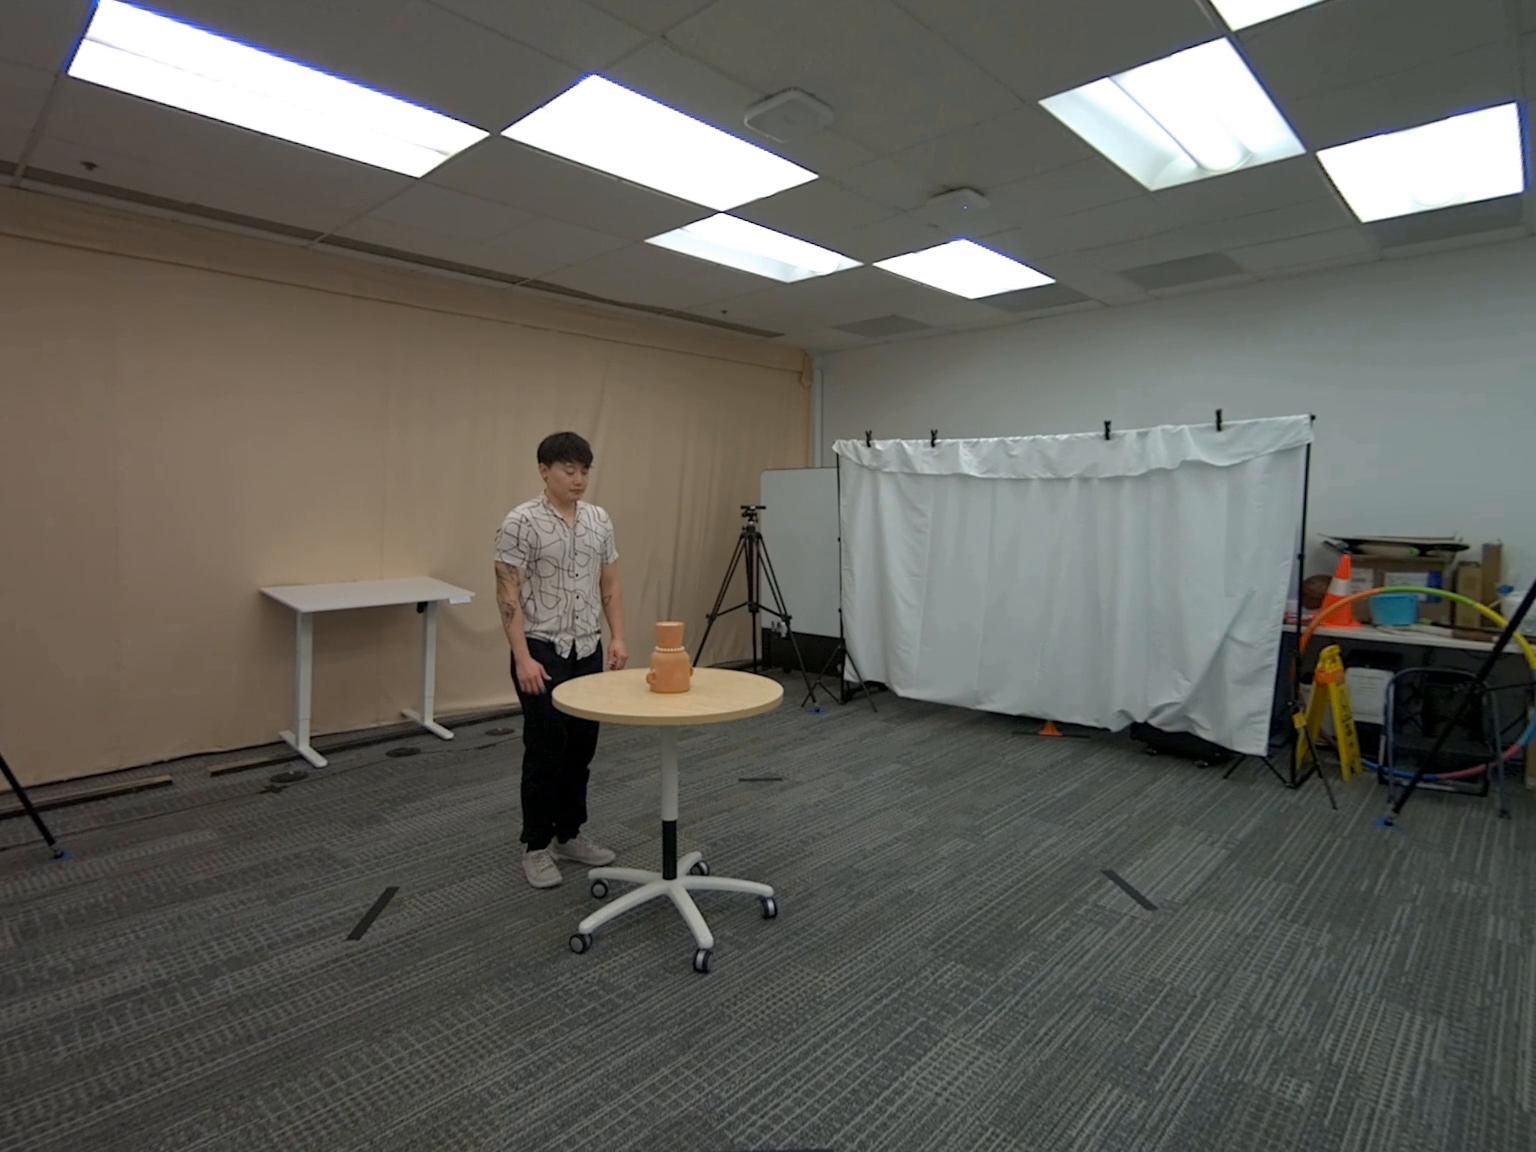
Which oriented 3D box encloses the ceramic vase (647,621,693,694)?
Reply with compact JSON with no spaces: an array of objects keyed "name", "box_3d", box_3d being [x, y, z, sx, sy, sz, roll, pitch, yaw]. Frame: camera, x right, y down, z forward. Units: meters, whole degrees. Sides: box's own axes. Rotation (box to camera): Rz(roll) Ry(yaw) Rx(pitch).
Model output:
[{"name":"ceramic vase","box_3d":[-0.322,0.265,2.801,0.136,0.219,0.158,2,3,6]}]
